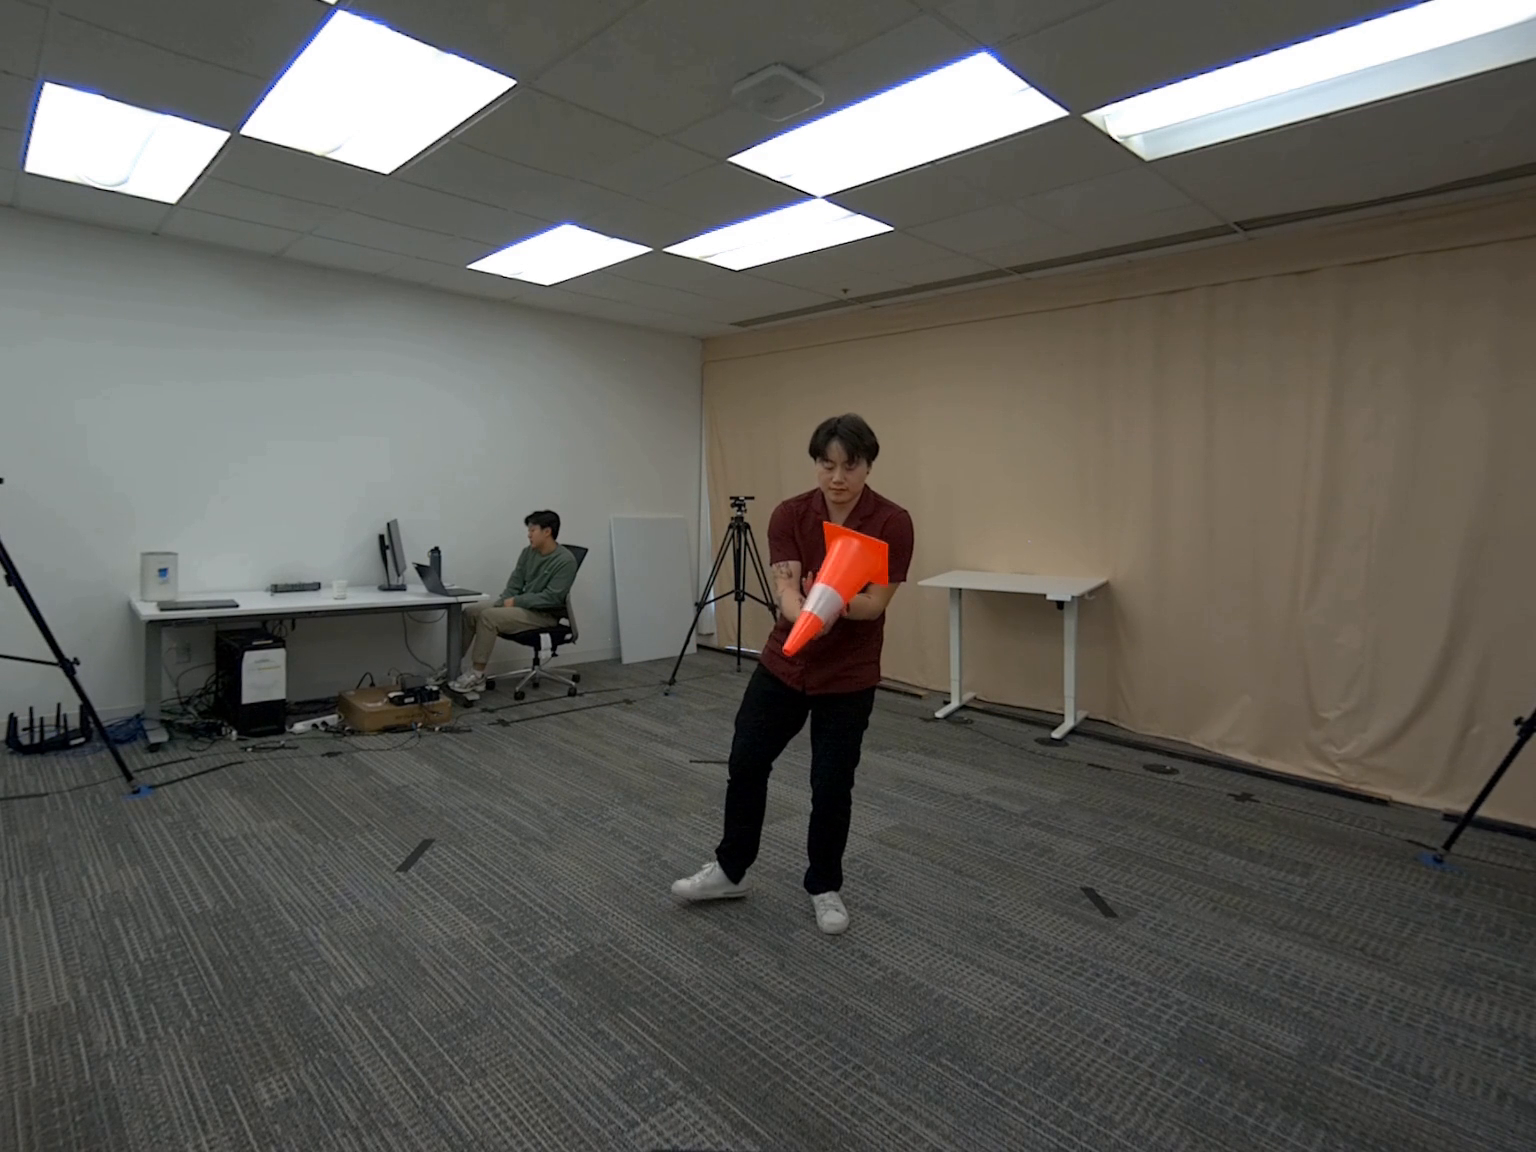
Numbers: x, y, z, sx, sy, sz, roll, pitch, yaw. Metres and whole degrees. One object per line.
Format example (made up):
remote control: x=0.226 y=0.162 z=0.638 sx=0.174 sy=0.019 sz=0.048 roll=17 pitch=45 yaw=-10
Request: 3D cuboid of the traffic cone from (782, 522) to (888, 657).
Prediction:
traffic cone: x=0.147 y=0.083 z=2.292 sx=0.210 sy=0.385 sz=0.198 roll=21 pitch=-33 yaw=26
